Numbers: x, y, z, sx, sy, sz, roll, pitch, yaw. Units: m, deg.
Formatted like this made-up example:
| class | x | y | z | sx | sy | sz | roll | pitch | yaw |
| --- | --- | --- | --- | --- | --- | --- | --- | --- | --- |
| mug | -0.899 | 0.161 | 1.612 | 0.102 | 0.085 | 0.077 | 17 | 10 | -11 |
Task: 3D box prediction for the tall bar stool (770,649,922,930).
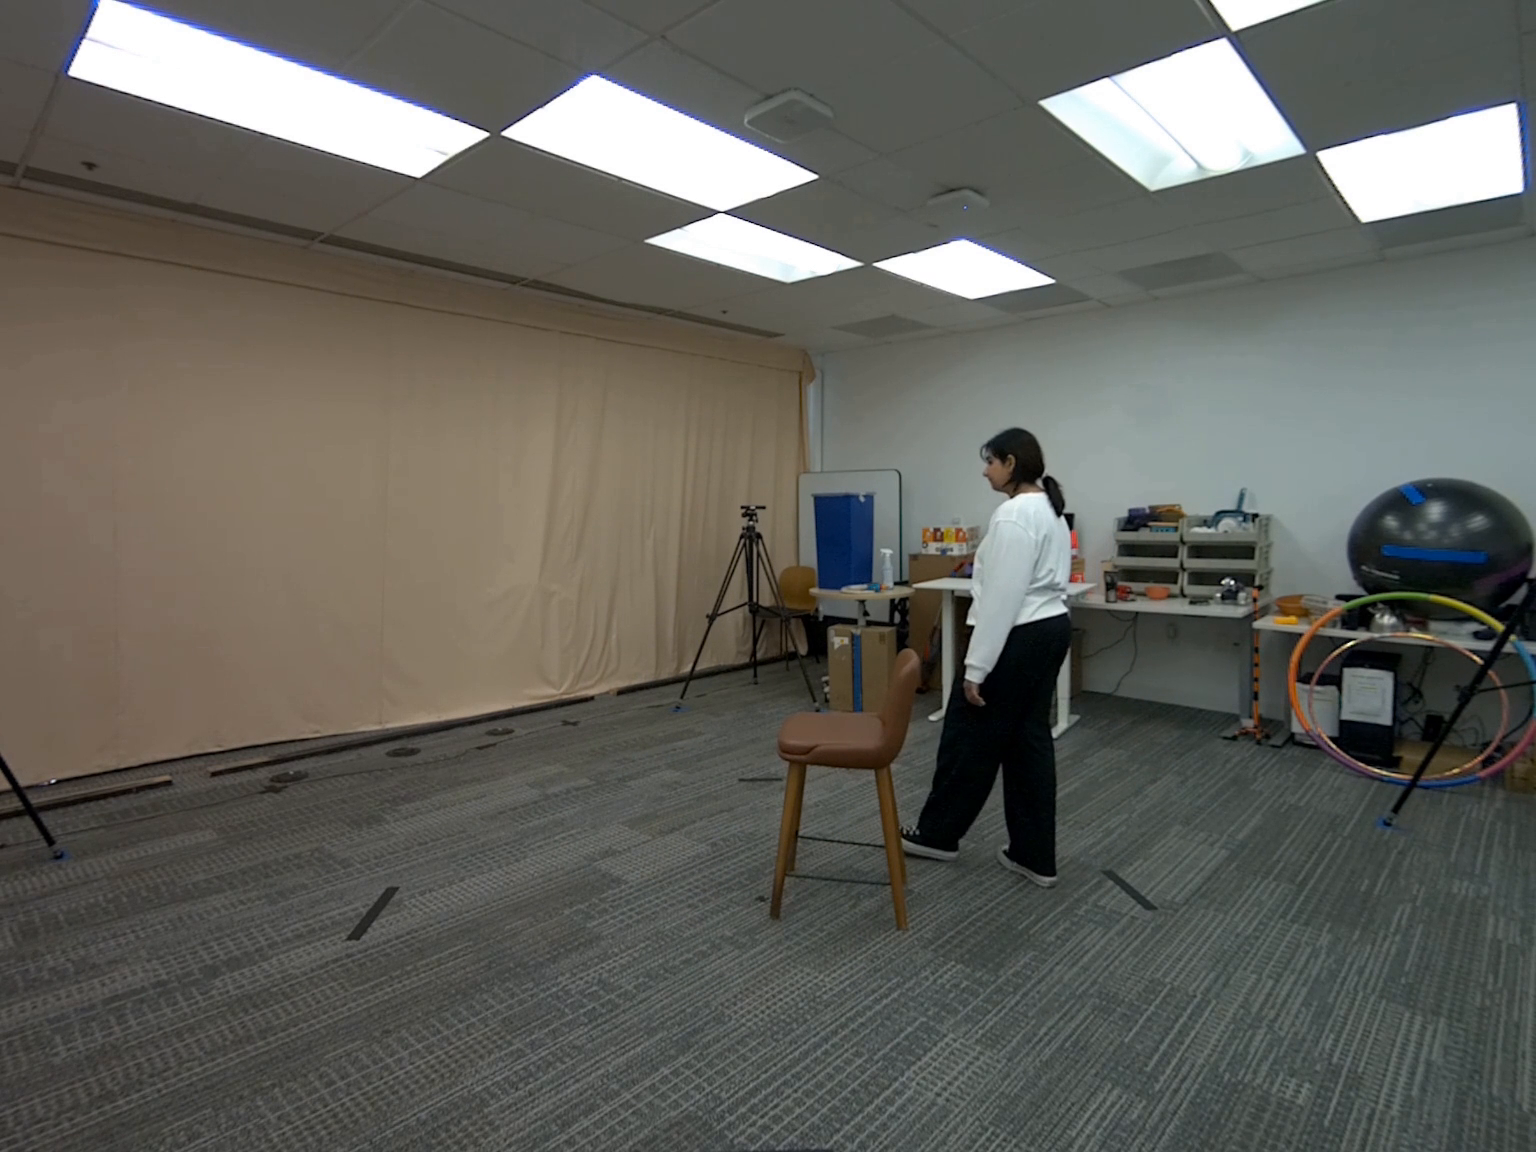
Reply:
| class | x | y | z | sx | sy | sz | roll | pitch | yaw |
| --- | --- | --- | --- | --- | --- | --- | --- | --- | --- |
| tall bar stool | 0.276 | 0.710 | 2.958 | 0.474 | 0.887 | 0.451 | 3 | 4 | 12 |
